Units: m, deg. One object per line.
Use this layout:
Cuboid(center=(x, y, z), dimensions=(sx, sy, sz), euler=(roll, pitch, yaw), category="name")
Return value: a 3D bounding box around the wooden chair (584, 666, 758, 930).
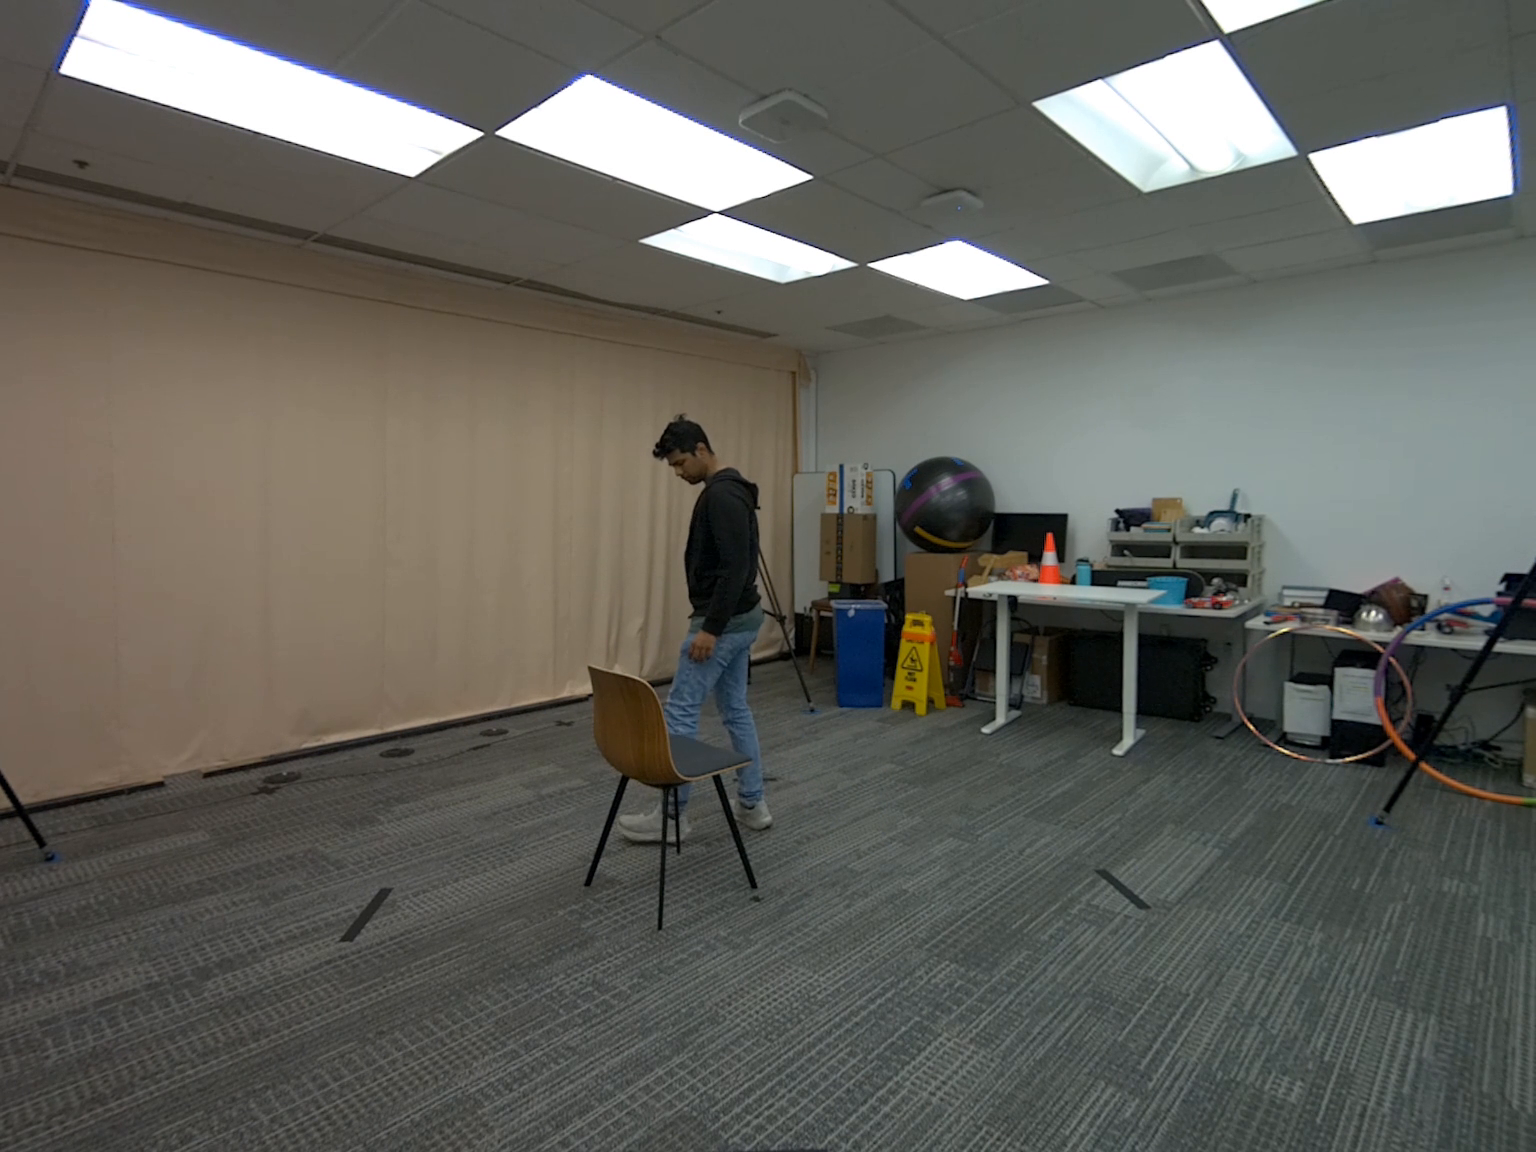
Cuboid(center=(-0.352, 0.714, 3.055), dimensions=(0.508, 0.874, 0.494), euler=(-9, 8, -43), category="wooden chair")
